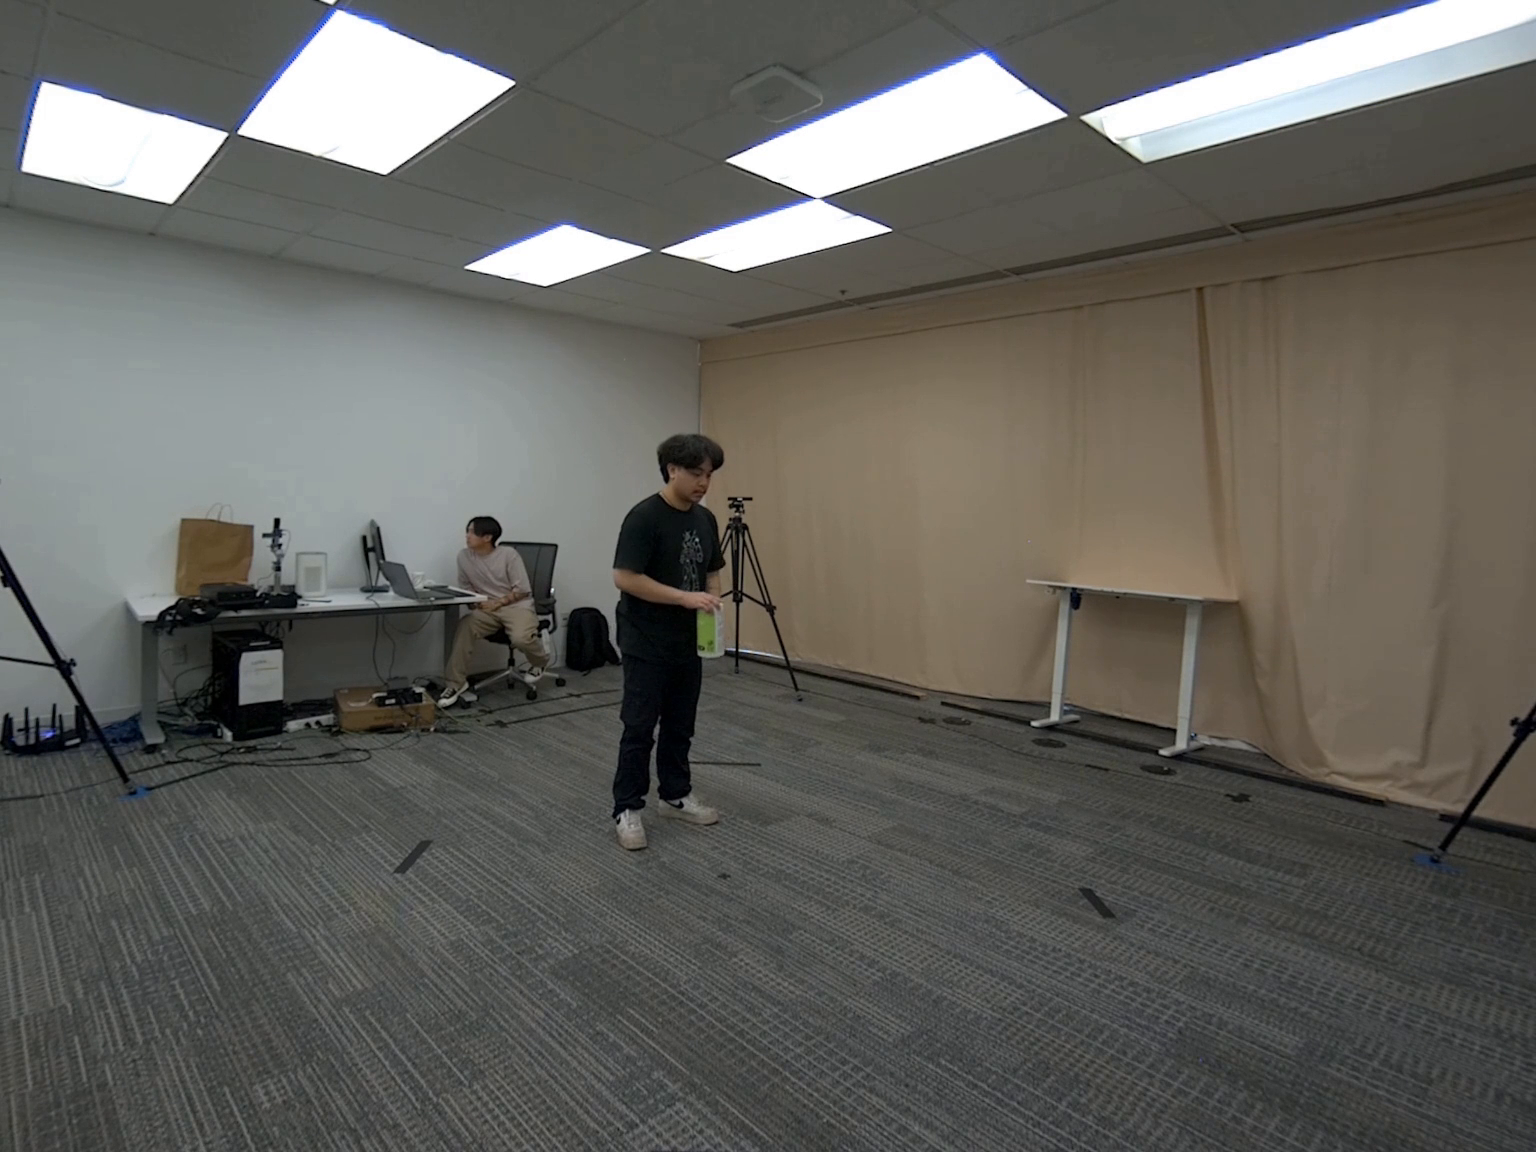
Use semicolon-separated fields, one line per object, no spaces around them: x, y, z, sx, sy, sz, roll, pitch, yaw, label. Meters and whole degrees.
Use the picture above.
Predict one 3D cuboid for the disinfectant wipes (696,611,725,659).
-0.242;0.212;3.370;0.118;0.216;0.118;-1;7;-1;disinfectant wipes
